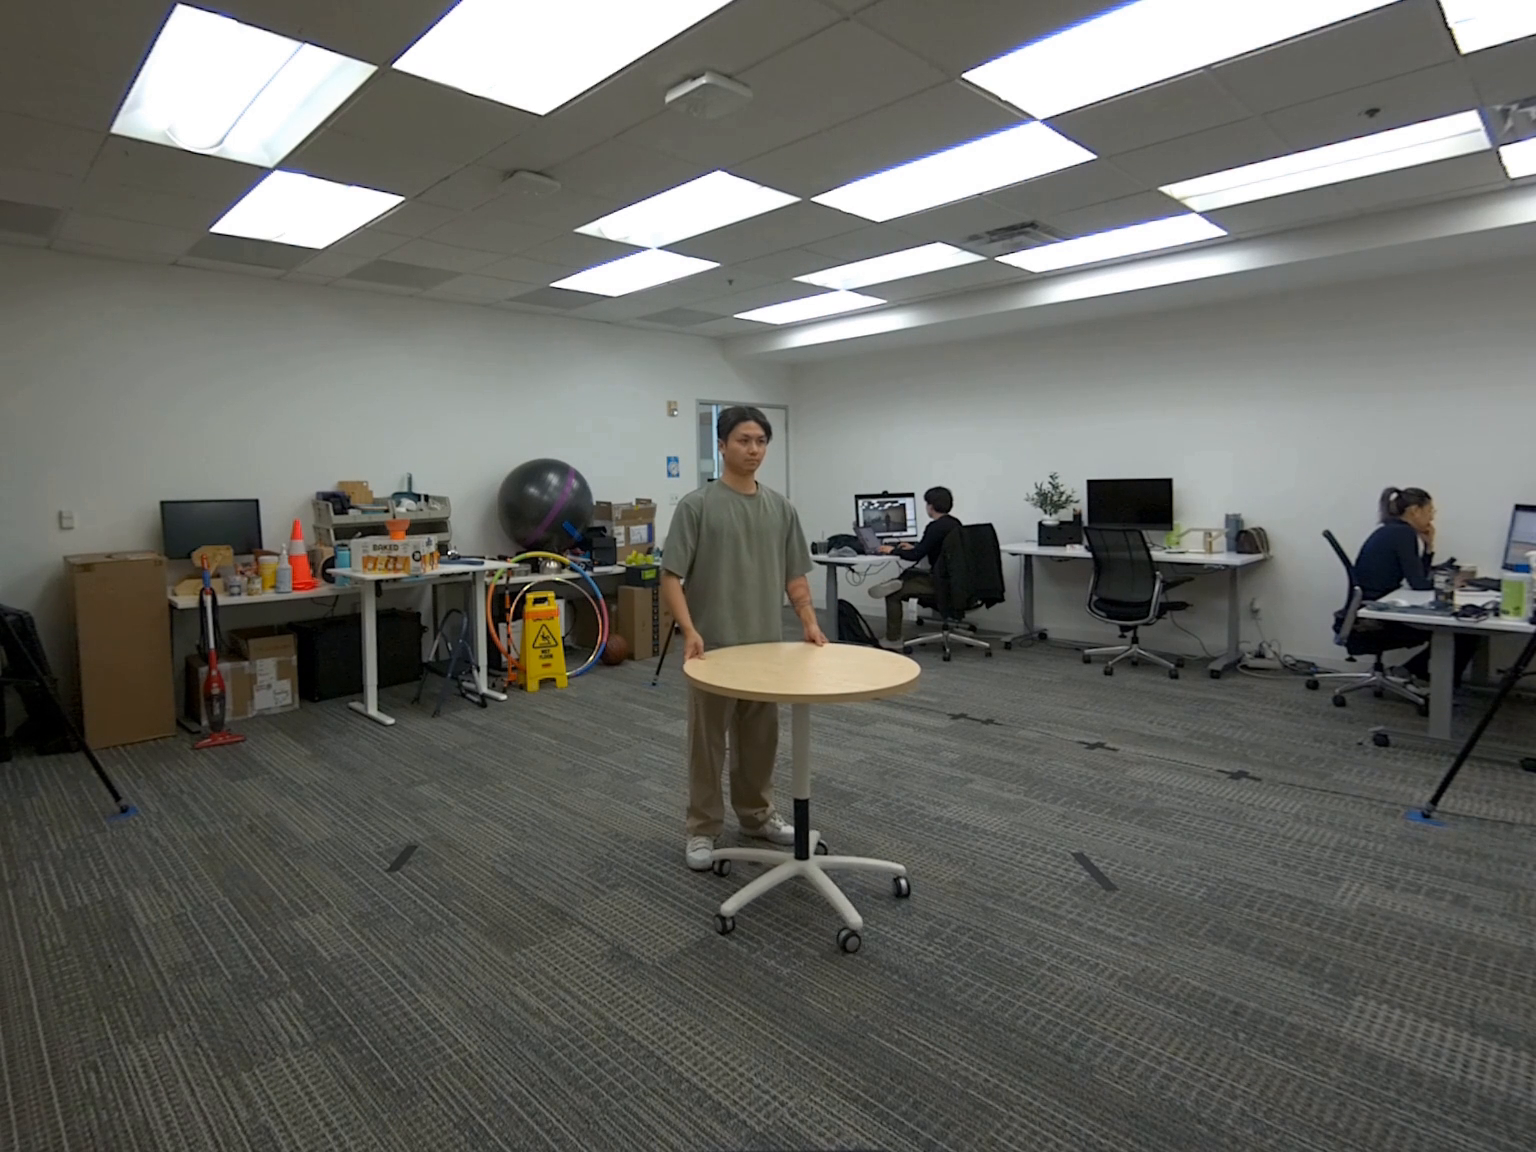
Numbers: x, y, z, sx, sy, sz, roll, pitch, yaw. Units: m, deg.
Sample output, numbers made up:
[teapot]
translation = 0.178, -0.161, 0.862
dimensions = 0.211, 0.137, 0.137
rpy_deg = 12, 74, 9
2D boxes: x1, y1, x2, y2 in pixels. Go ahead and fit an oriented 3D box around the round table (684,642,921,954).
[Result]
[round table]
translation = 0.097, 0.682, 2.807
dimensions = 0.784, 0.784, 0.789
rpy_deg = -1, 5, -2
